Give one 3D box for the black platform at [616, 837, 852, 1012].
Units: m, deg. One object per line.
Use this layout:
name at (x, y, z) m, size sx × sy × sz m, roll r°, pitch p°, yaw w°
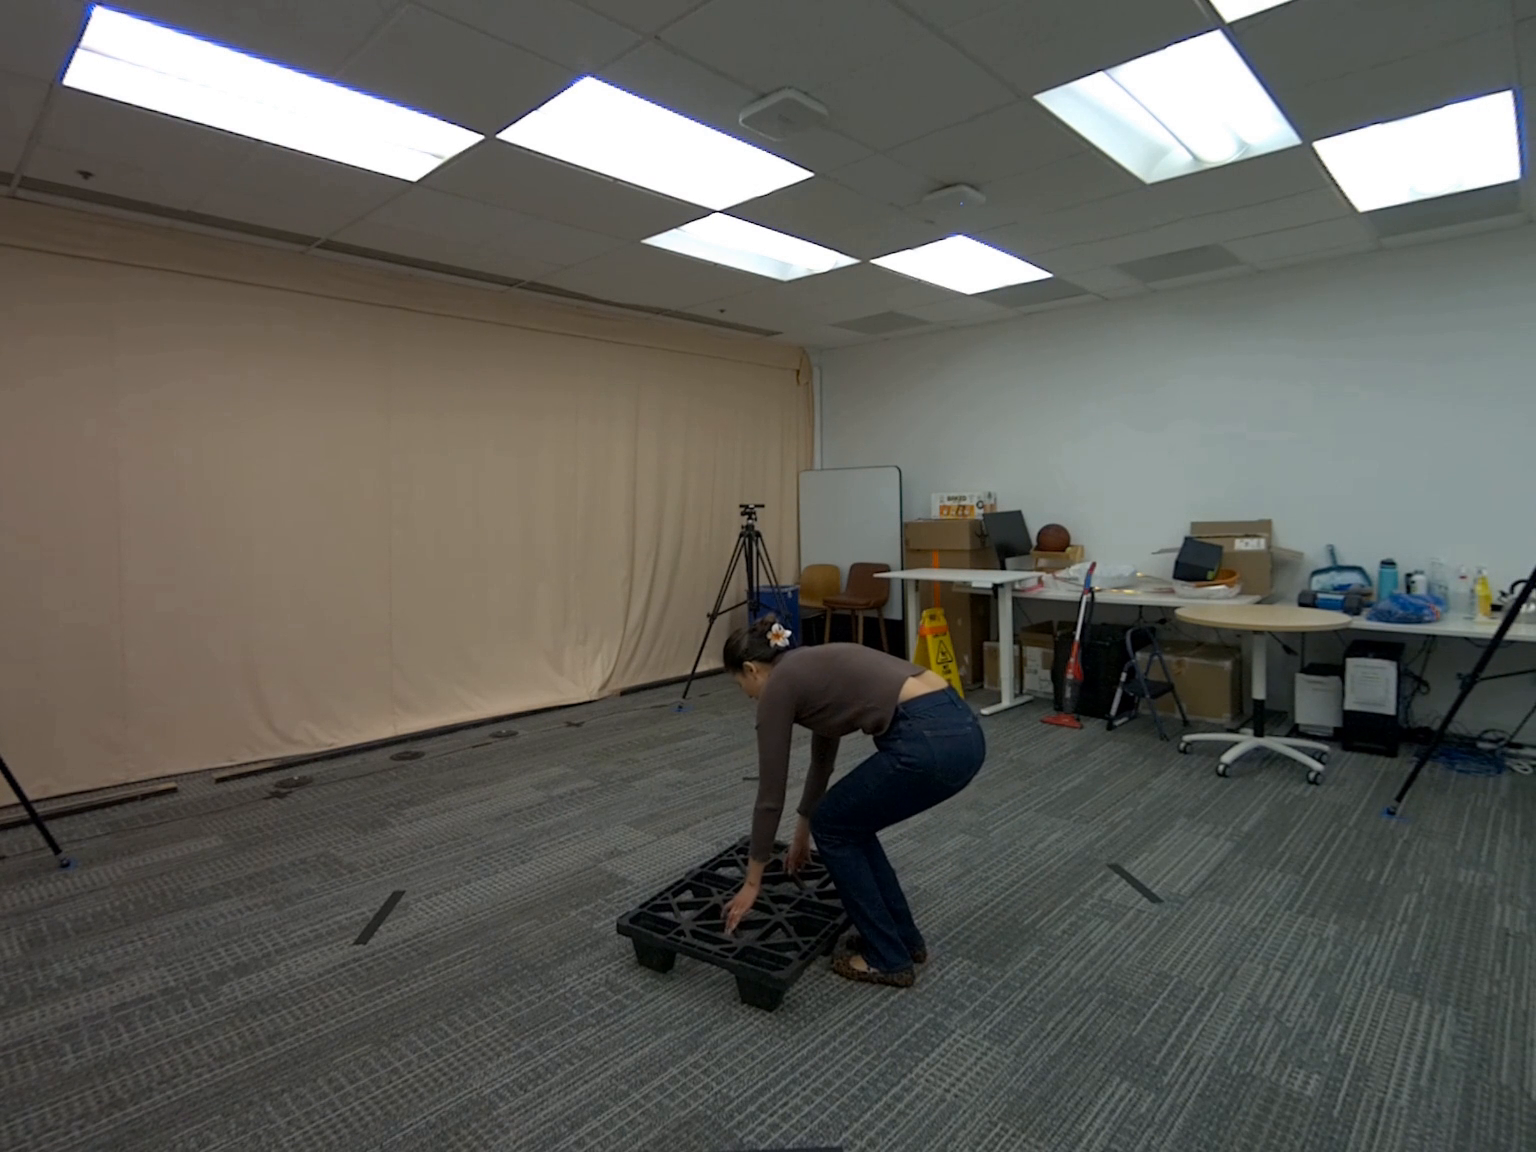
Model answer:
black platform at (-0.015, 1.093, 2.730) m, size 0.623 × 0.143 × 0.784 m, roll 1°, pitch 5°, yaw 32°
